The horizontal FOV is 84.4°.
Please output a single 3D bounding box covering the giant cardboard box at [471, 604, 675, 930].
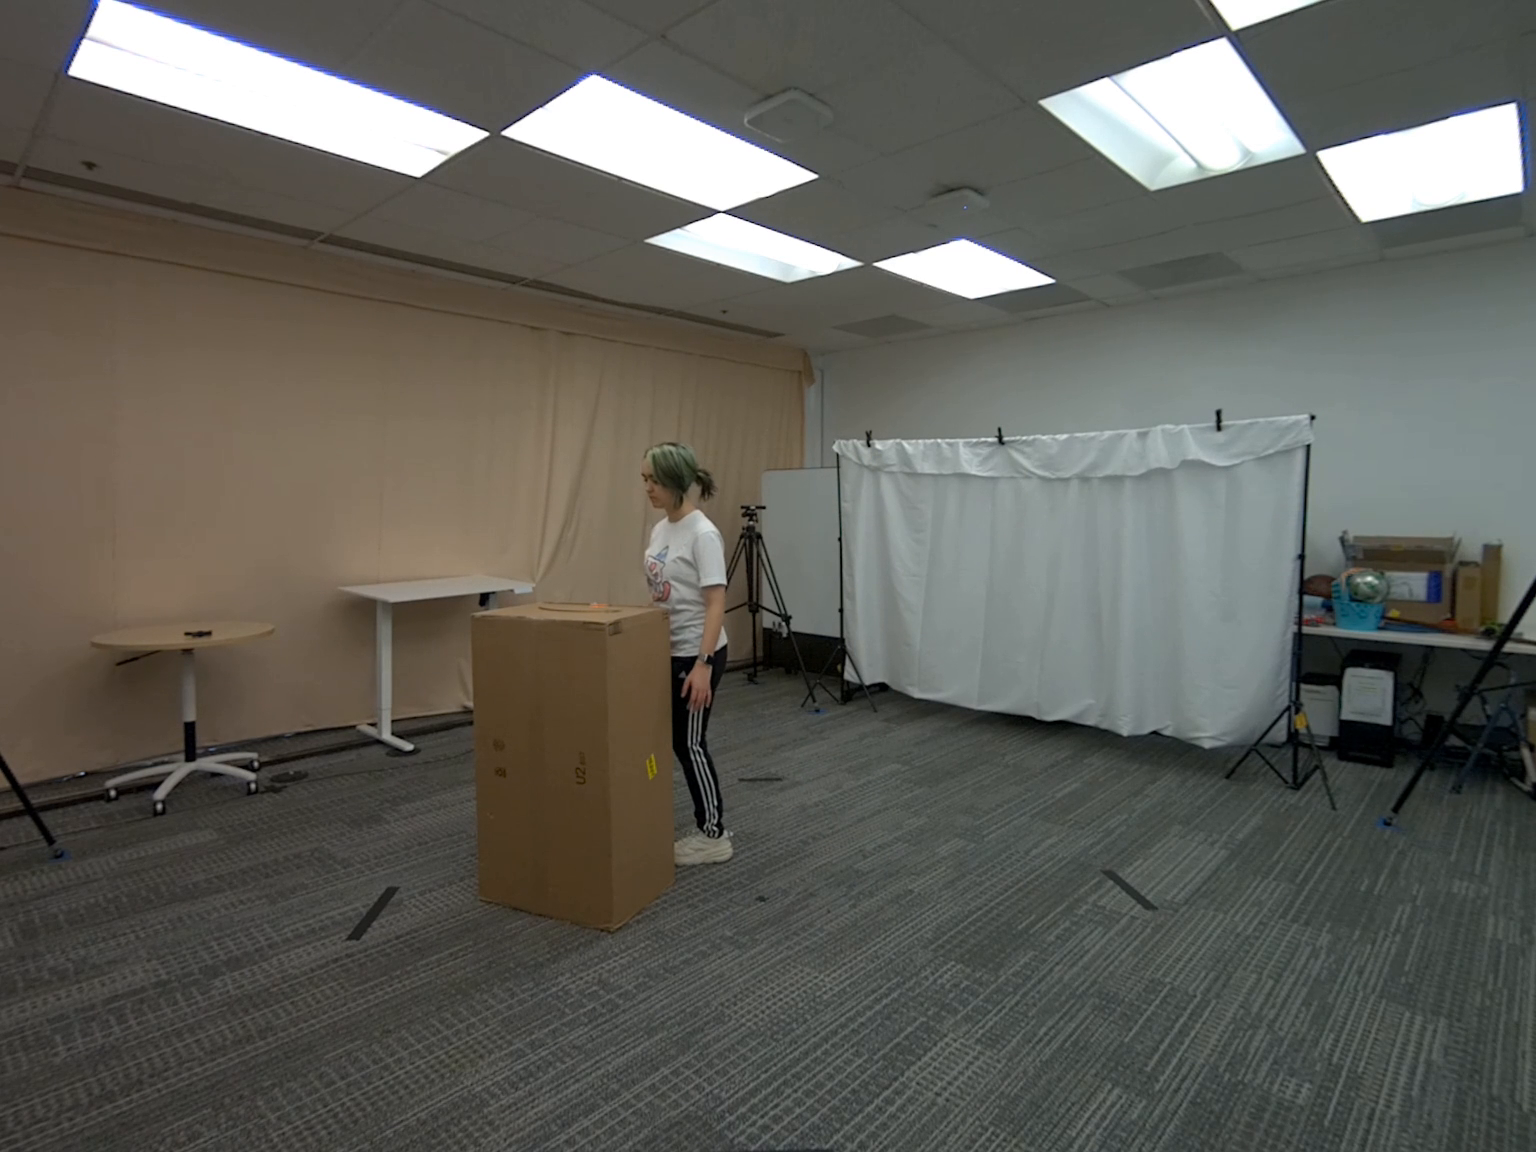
[{"bbox_3d":[-0.694,0.635,3.038,0.592,1.024,0.416,1,3,25],"label":"giant cardboard box"}]
